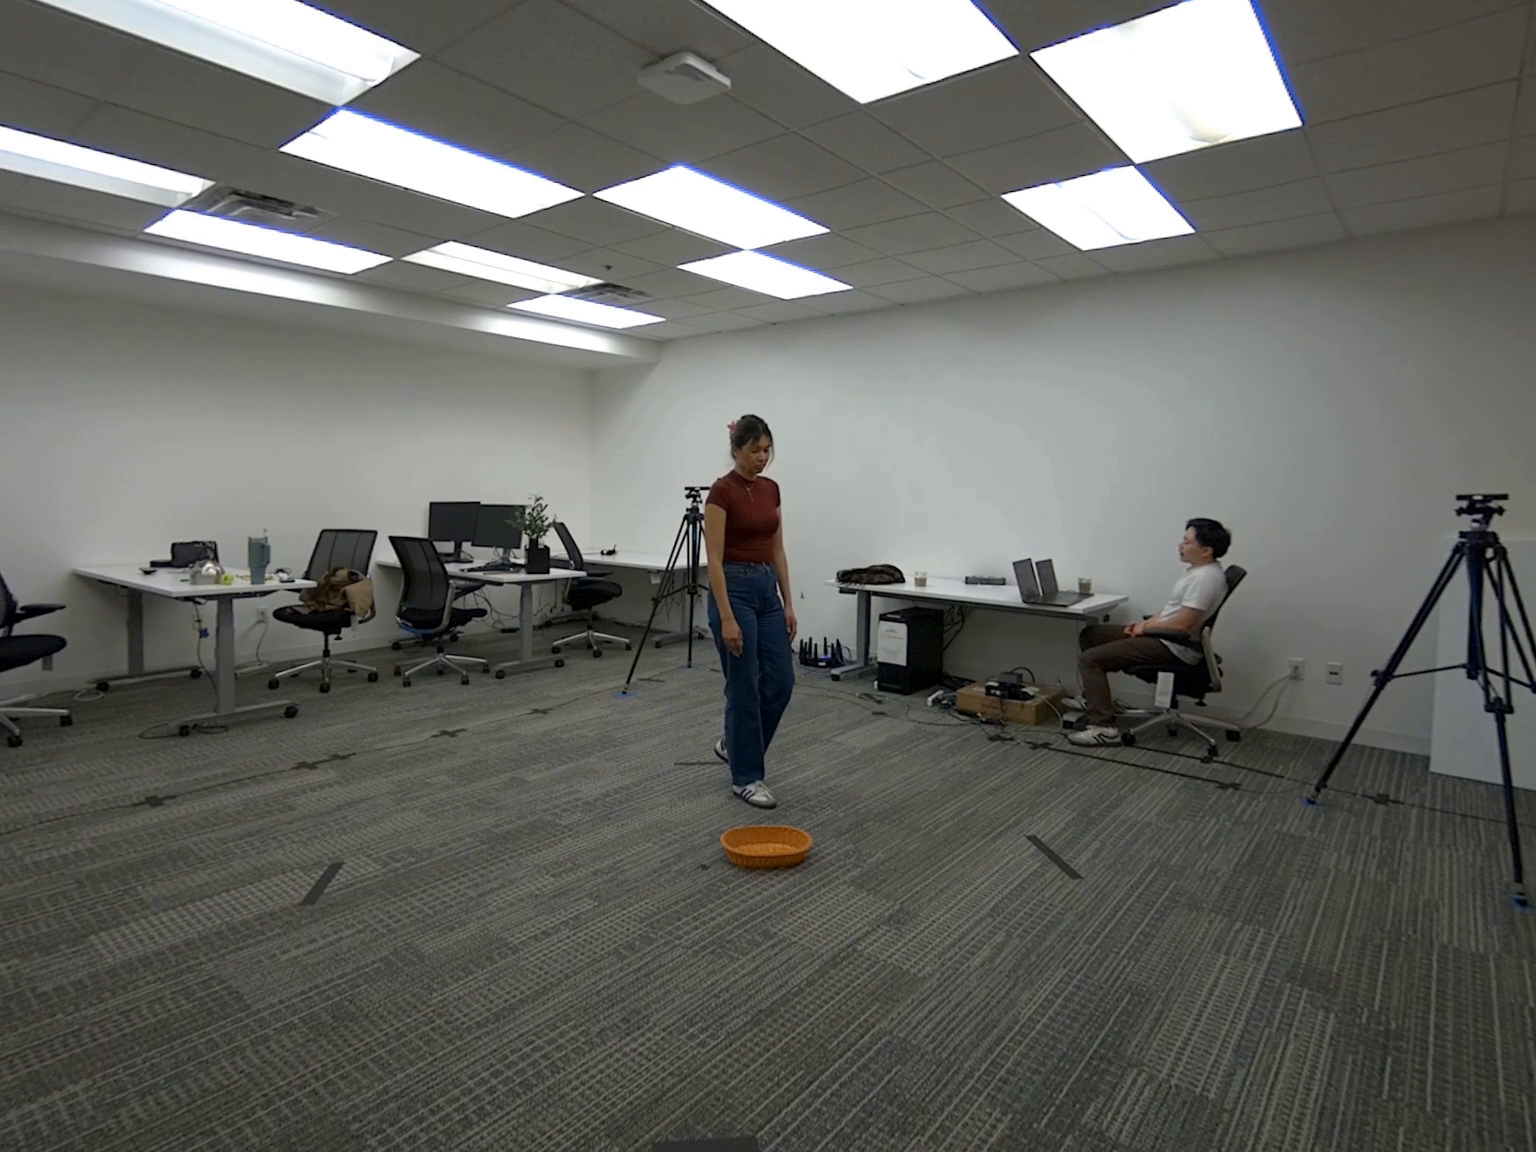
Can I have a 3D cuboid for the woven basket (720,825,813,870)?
[{"bbox_3d":[-0.019,1.021,3.206,0.347,0.073,0.256,0,7,-9],"label":"woven basket"}]
